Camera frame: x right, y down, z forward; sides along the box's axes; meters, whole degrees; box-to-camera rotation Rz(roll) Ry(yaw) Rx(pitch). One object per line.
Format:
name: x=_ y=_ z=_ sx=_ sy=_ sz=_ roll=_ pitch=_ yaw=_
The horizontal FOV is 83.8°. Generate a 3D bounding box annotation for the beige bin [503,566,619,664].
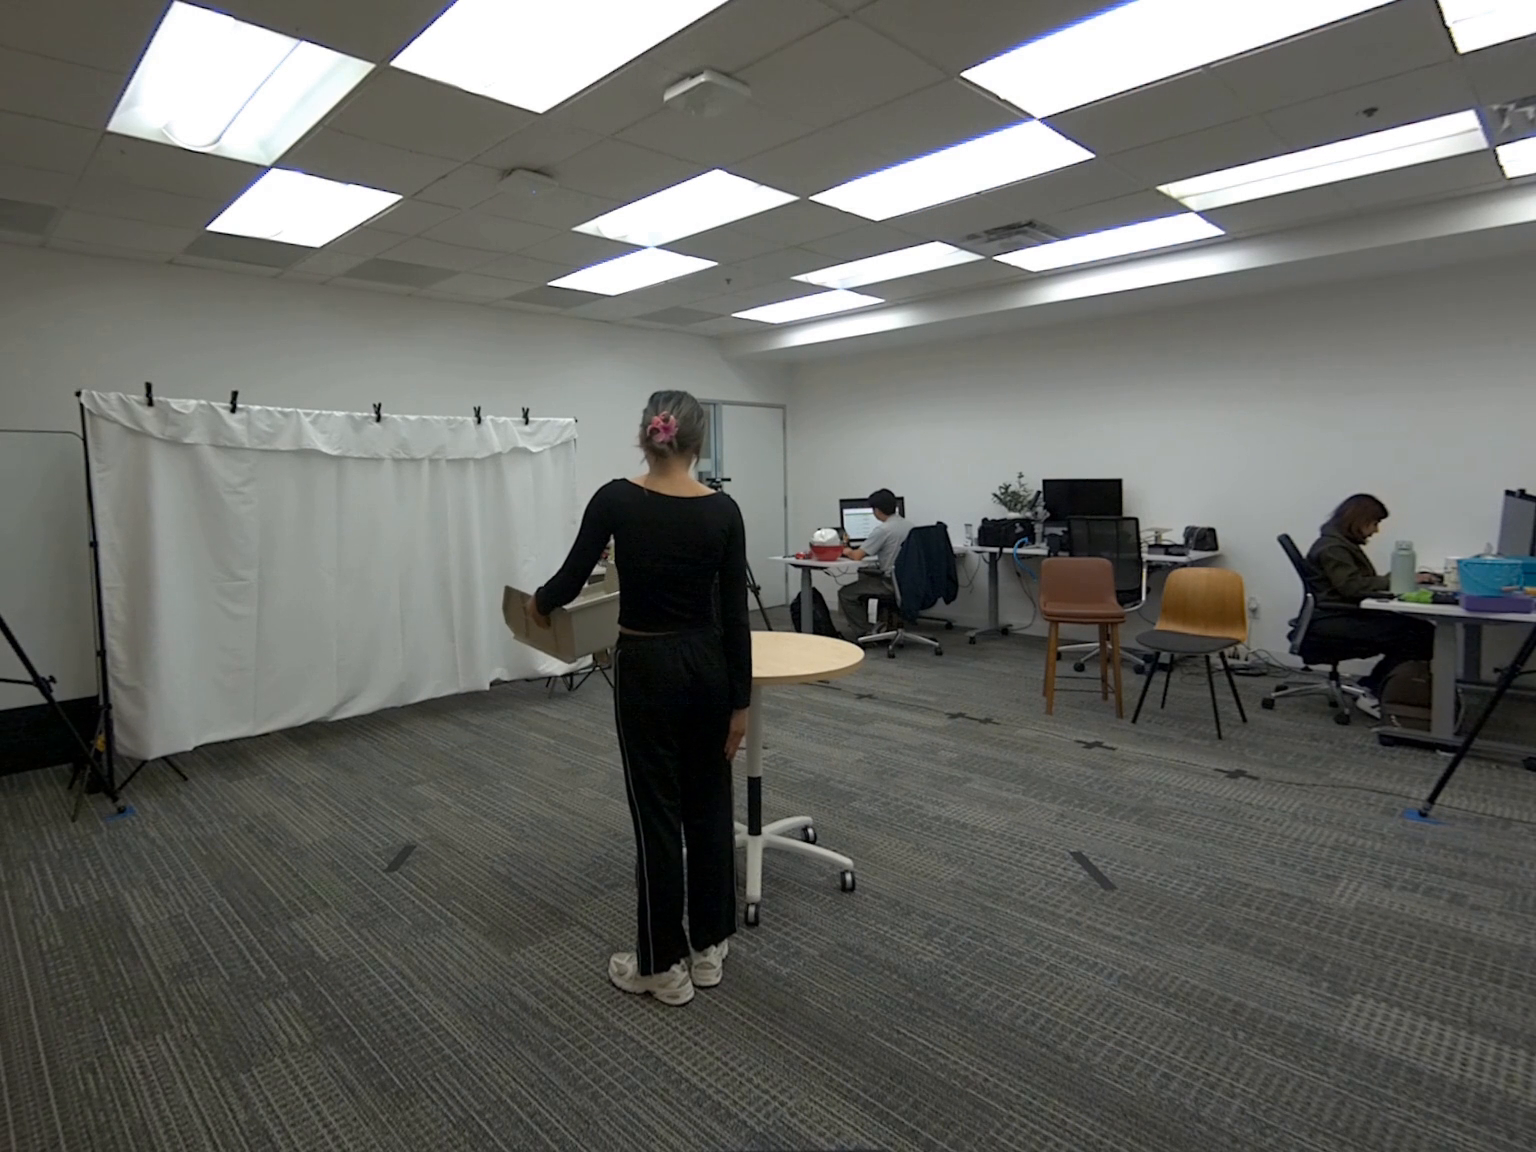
beige bin: x=-0.571 y=0.103 z=2.754 sx=0.390 sy=0.186 sz=0.413 roll=15 pitch=22 yaw=42
